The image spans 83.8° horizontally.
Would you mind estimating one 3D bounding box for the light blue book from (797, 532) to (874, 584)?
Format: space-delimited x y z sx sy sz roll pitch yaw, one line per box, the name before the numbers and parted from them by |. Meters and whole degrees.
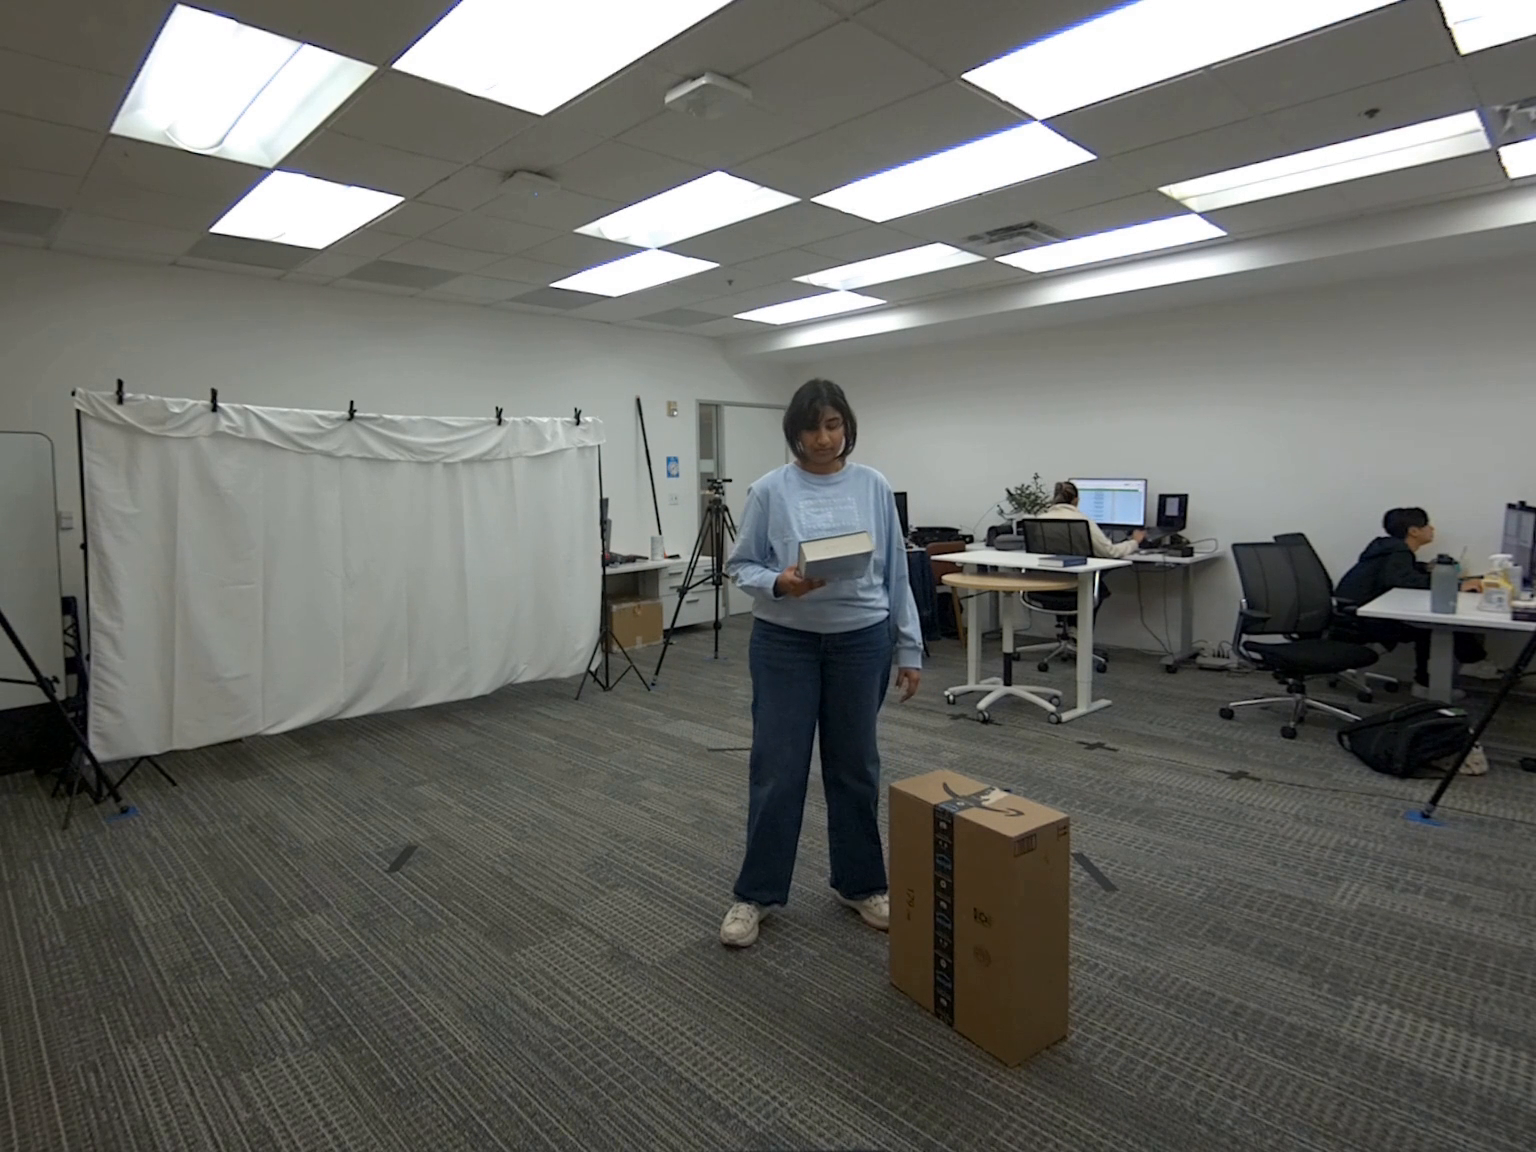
light blue book | 0.175 -0.041 2.369 0.191 0.060 0.257 -9 -17 -4
